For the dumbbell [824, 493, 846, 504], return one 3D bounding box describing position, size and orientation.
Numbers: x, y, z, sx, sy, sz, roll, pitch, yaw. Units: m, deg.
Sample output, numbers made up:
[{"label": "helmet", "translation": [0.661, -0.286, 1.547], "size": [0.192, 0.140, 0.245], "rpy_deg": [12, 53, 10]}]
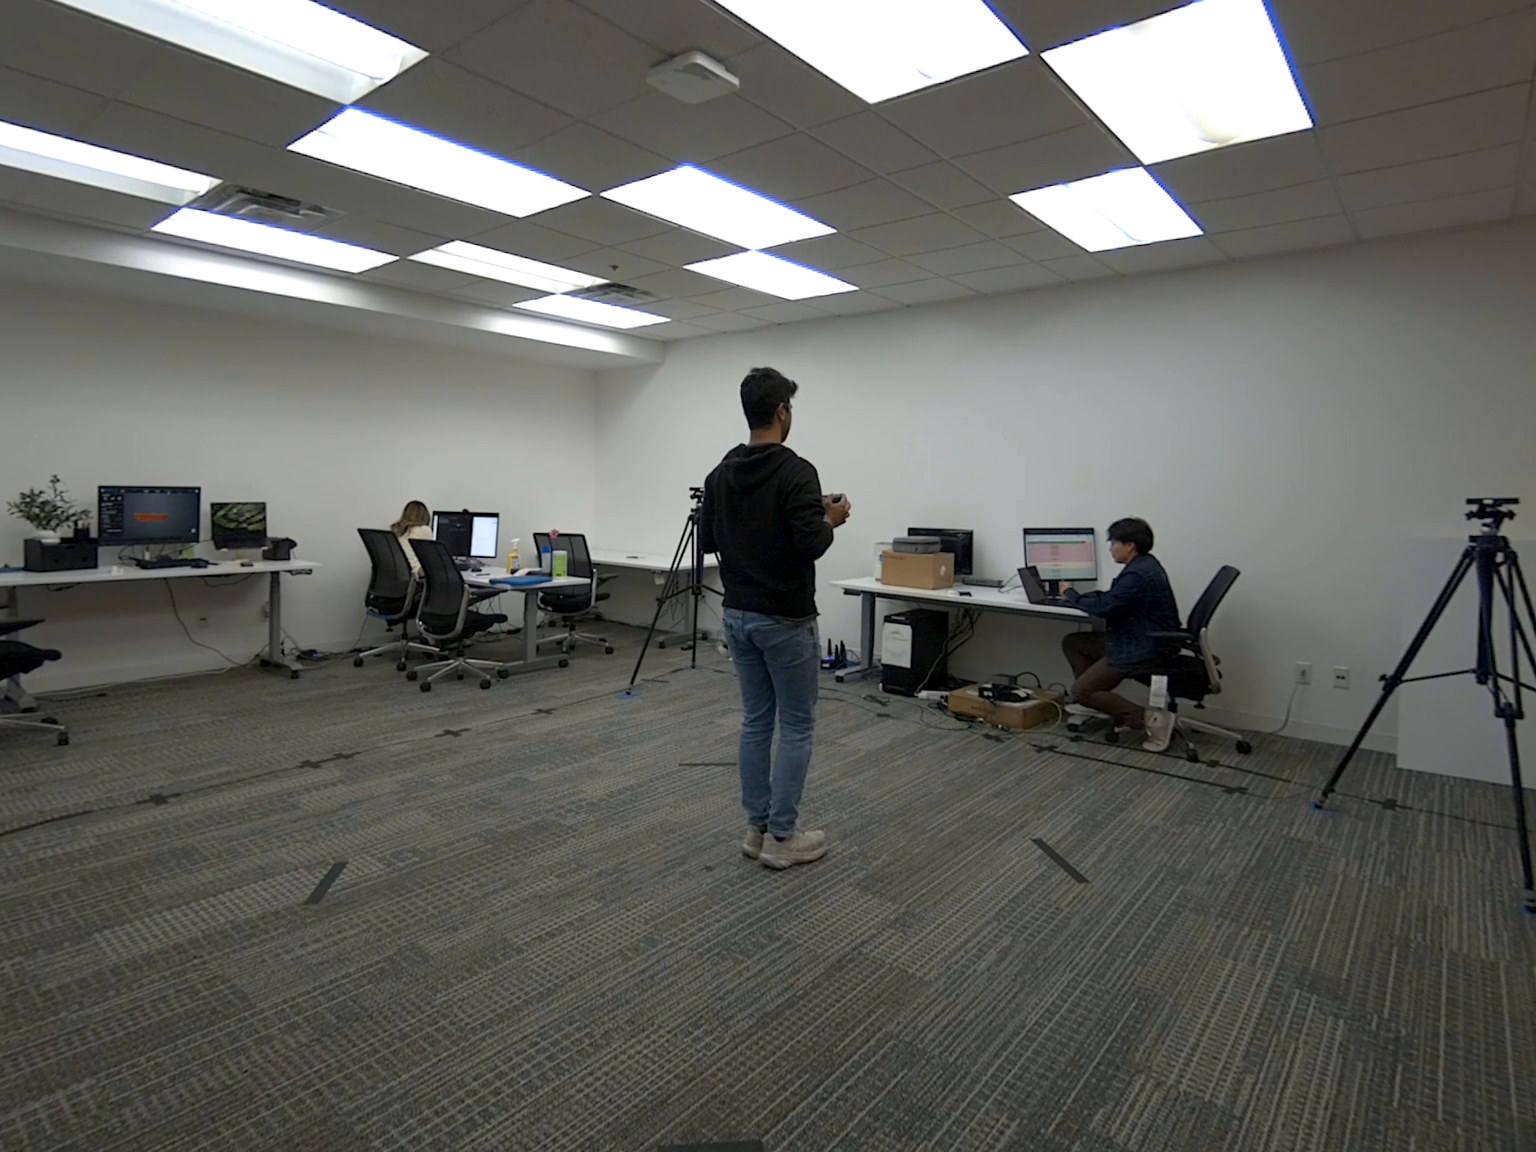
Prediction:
[{"label": "dumbbell", "translation": [0.147, -0.259, 3.330], "size": [0.303, 0.124, 0.104], "rpy_deg": [4, -23, 44]}]
